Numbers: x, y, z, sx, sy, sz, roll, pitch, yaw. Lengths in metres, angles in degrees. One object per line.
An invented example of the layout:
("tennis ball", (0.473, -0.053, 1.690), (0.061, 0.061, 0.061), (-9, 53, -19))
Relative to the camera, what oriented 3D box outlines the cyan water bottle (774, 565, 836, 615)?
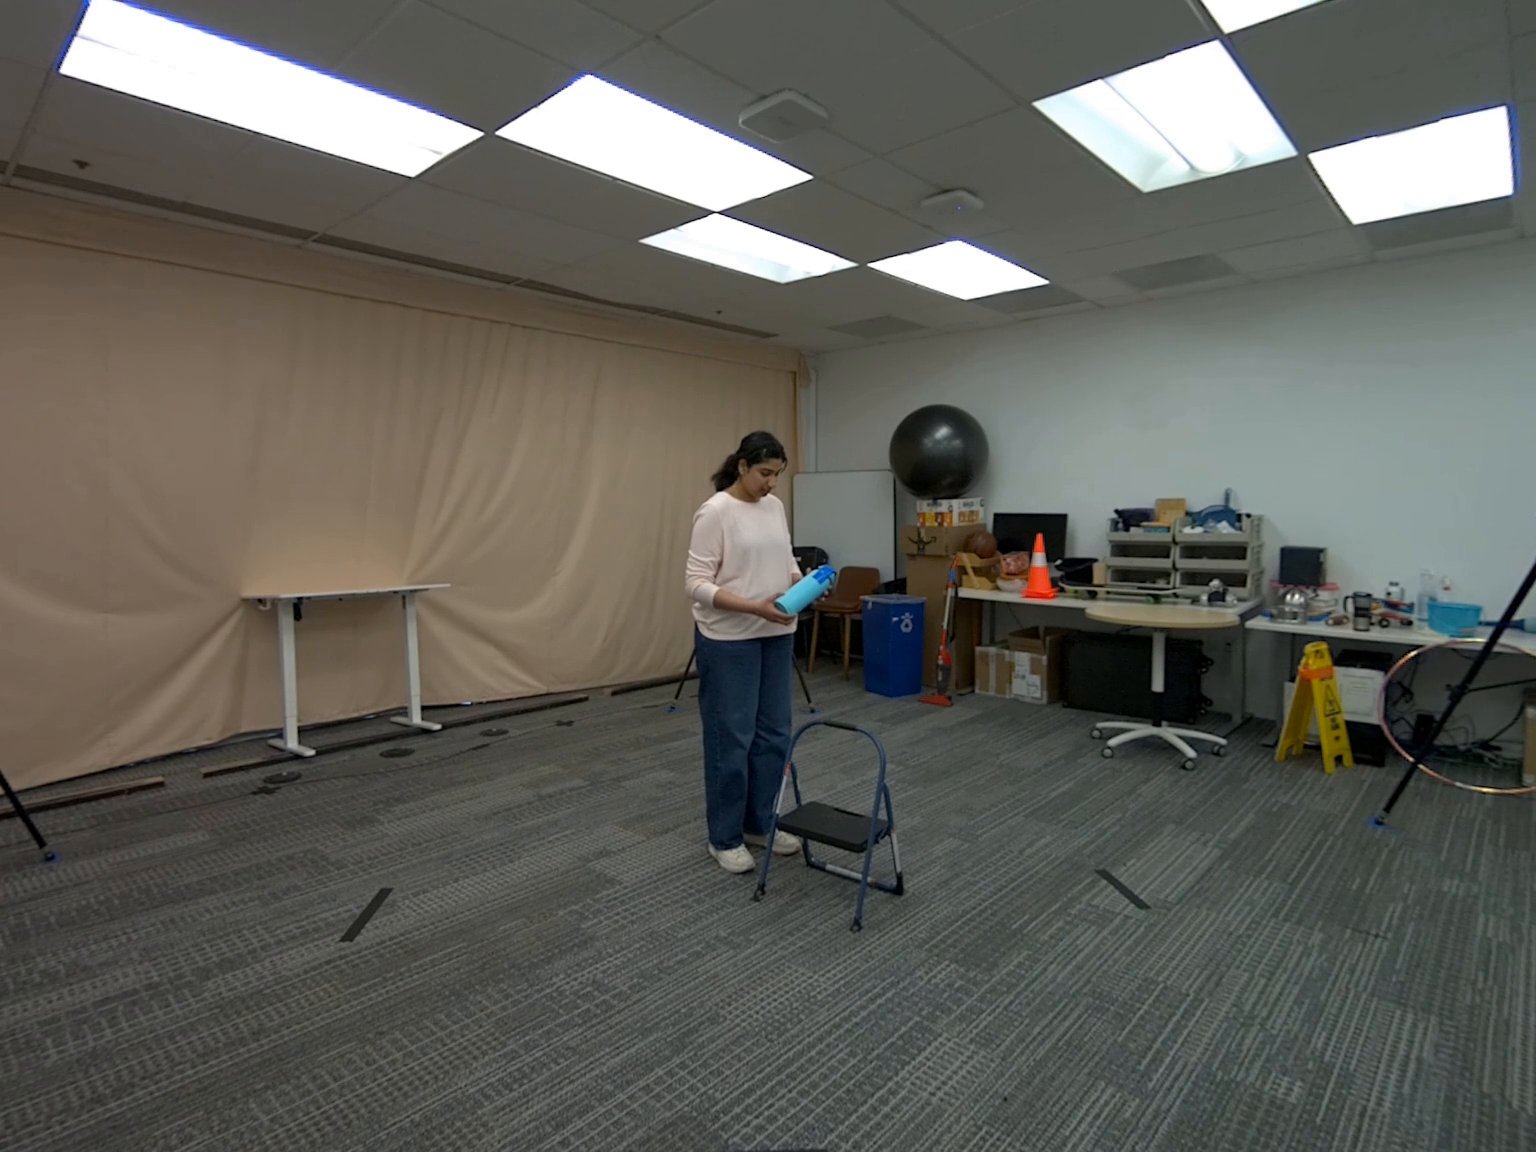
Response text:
("cyan water bottle", (0.152, 0.056, 3.103), (0.280, 0.090, 0.095), (-40, 25, -28))
